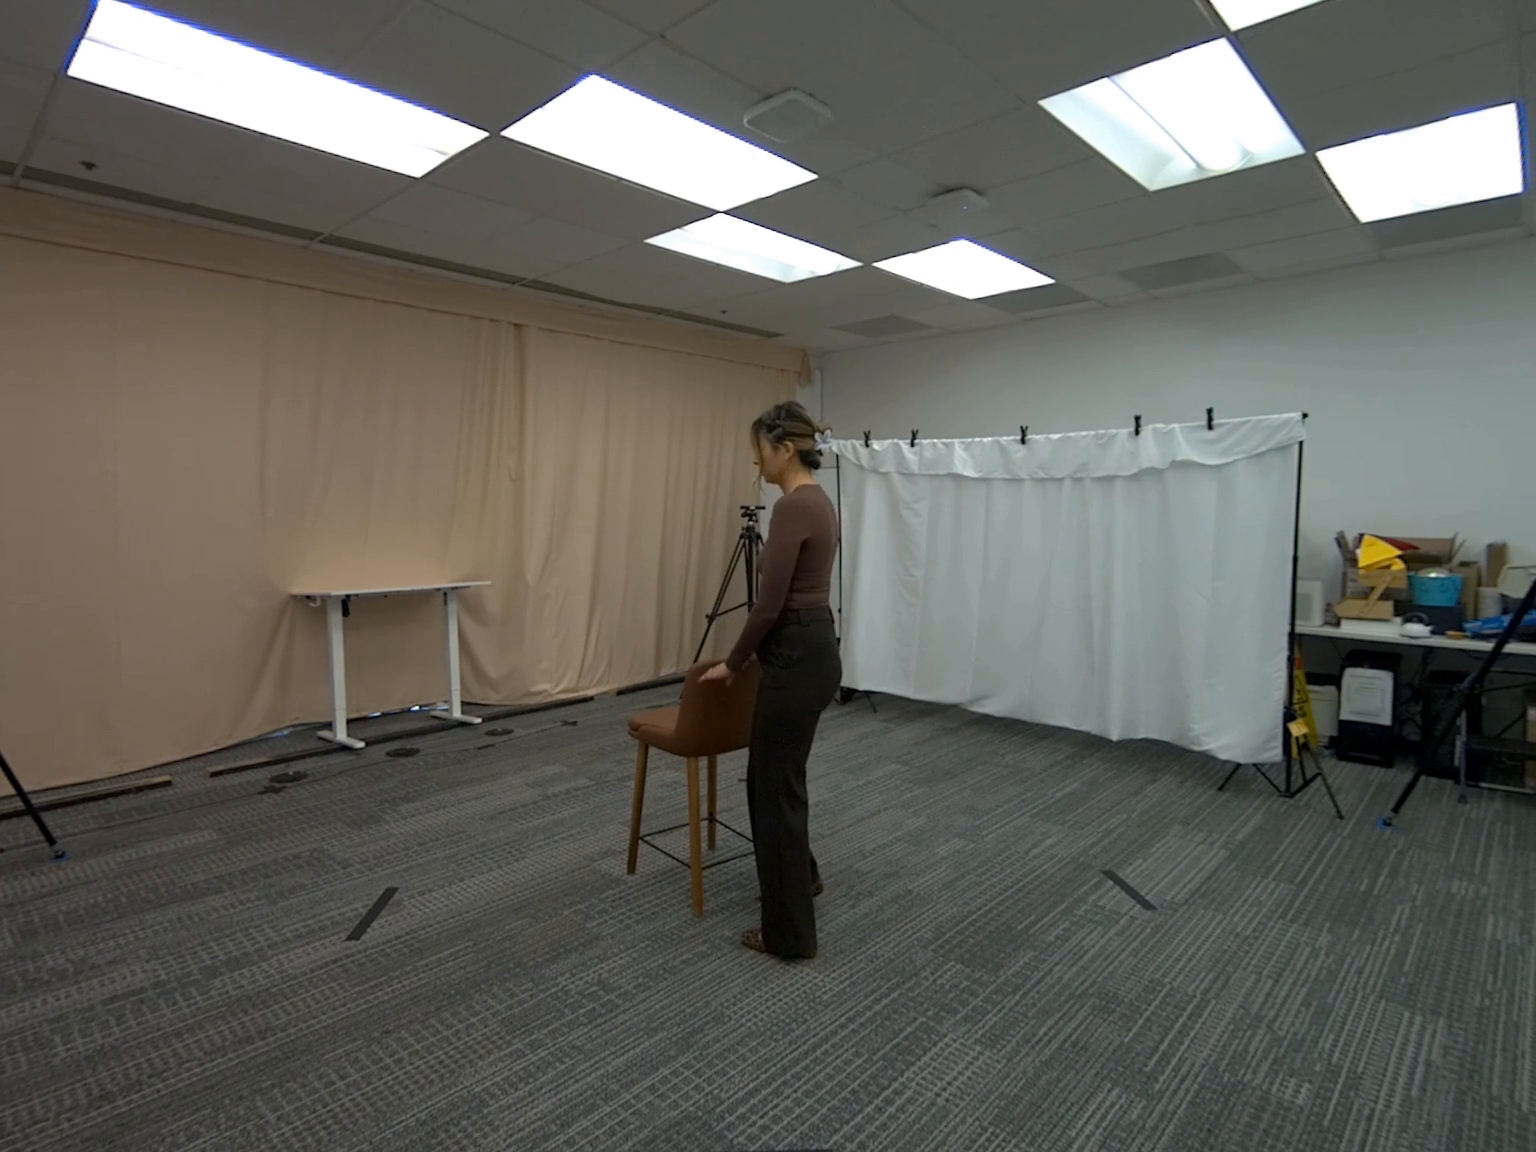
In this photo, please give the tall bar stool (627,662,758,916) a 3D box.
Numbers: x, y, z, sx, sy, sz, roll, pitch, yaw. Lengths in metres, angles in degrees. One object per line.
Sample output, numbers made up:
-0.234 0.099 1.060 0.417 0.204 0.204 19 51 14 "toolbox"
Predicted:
-0.235 0.696 3.109 0.443 0.887 0.483 -3 6 -38 "tall bar stool"
